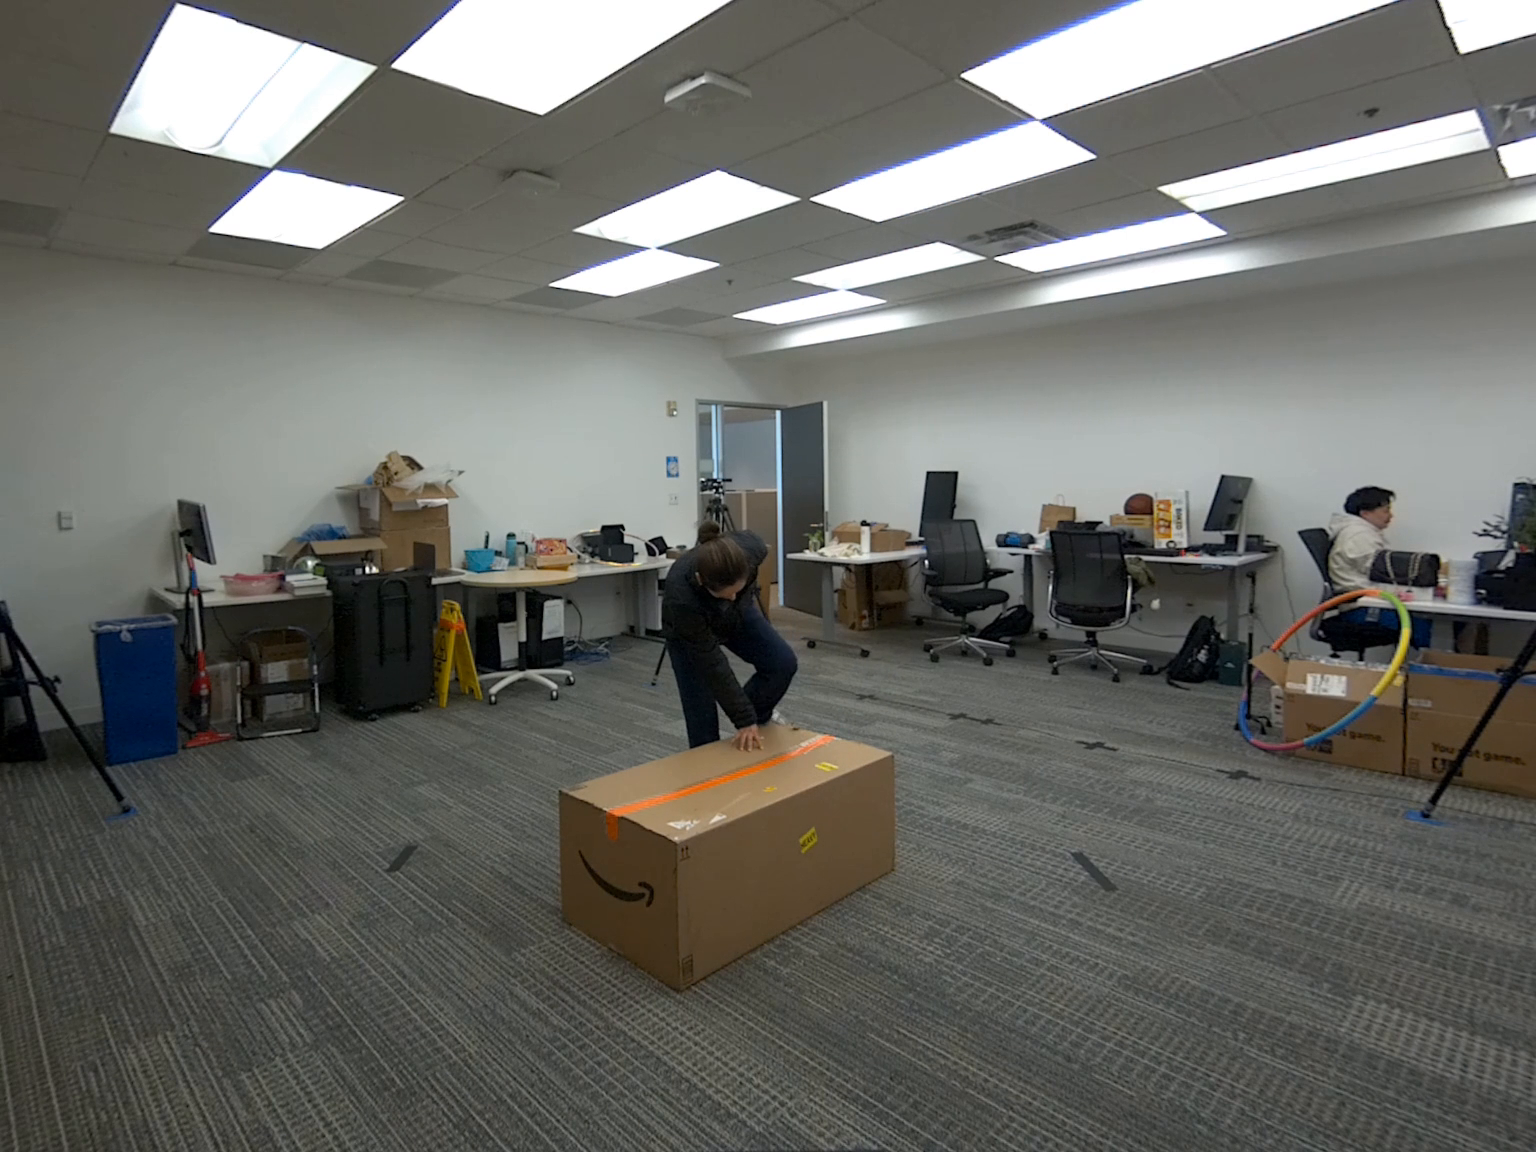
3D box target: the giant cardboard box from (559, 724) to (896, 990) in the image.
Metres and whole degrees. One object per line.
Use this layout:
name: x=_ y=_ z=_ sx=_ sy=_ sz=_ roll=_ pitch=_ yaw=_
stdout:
giant cardboard box: x=-0.107 y=0.864 z=2.883 sx=0.601 sy=0.445 sz=1.001 roll=3 pitch=7 yaw=44
